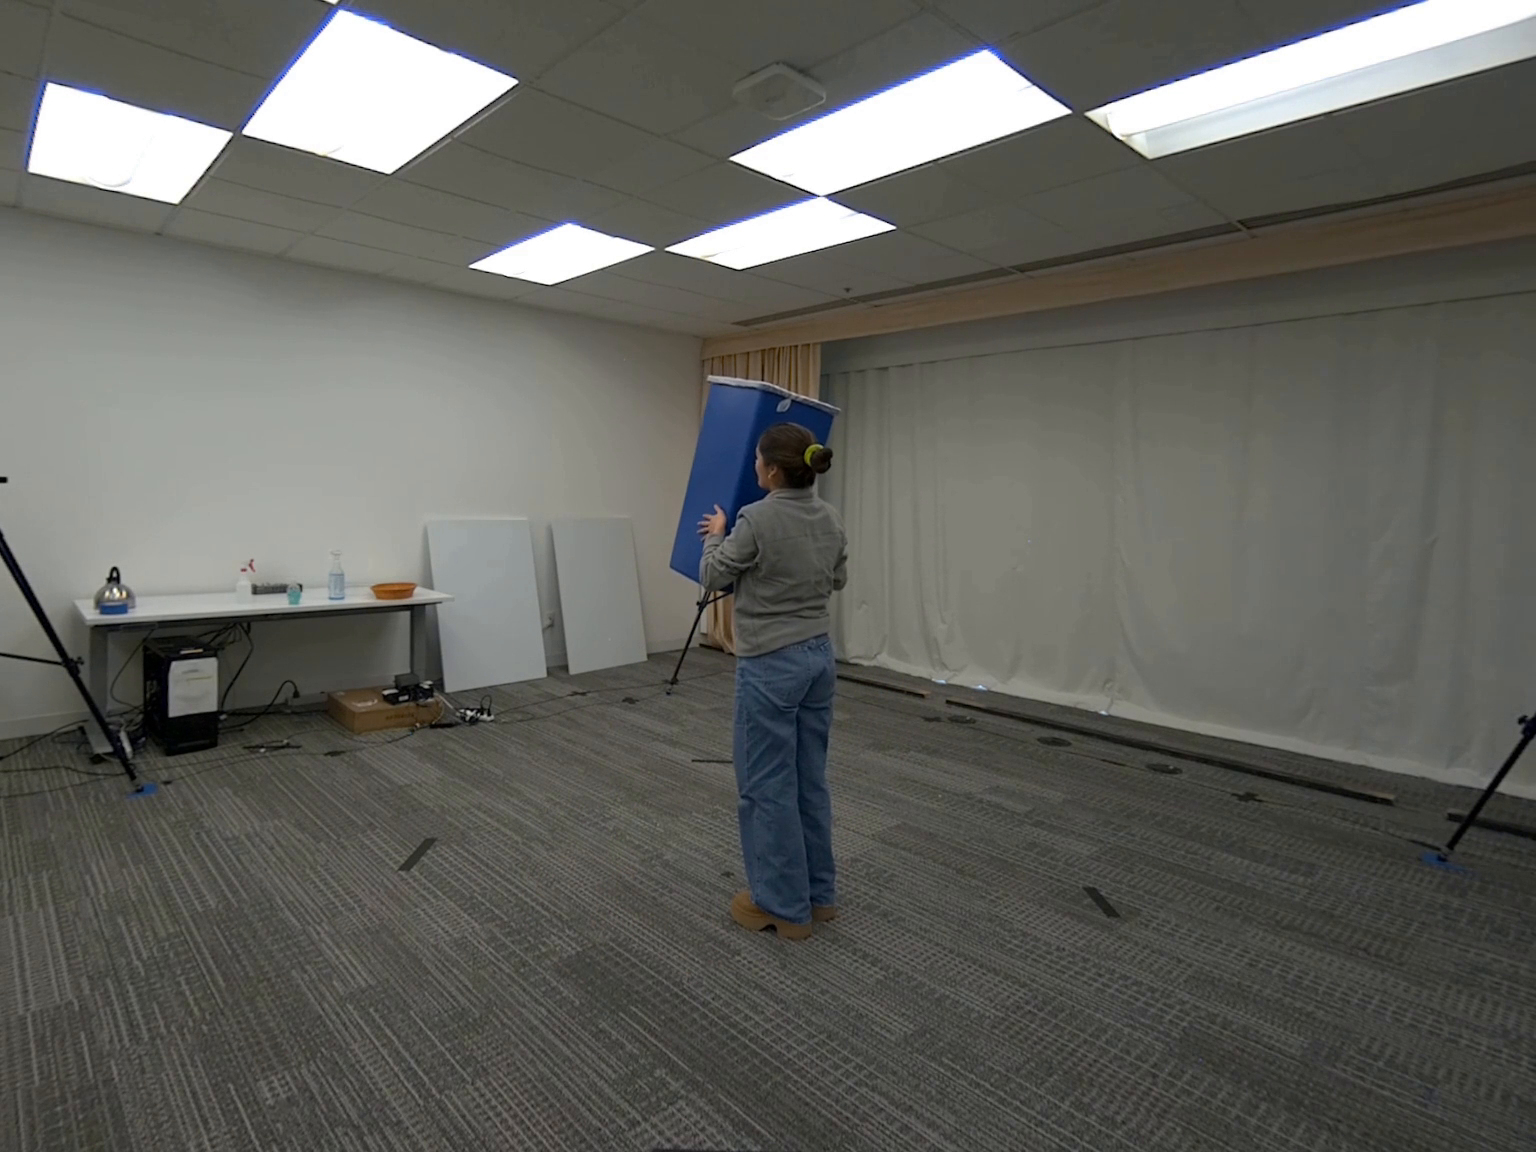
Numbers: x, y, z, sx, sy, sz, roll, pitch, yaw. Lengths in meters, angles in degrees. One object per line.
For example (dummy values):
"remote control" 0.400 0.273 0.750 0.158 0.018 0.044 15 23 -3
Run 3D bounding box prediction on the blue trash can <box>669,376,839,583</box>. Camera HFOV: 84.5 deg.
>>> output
"blue trash can" -0.083 -0.320 3.024 0.368 0.711 0.385 12 7 -38
